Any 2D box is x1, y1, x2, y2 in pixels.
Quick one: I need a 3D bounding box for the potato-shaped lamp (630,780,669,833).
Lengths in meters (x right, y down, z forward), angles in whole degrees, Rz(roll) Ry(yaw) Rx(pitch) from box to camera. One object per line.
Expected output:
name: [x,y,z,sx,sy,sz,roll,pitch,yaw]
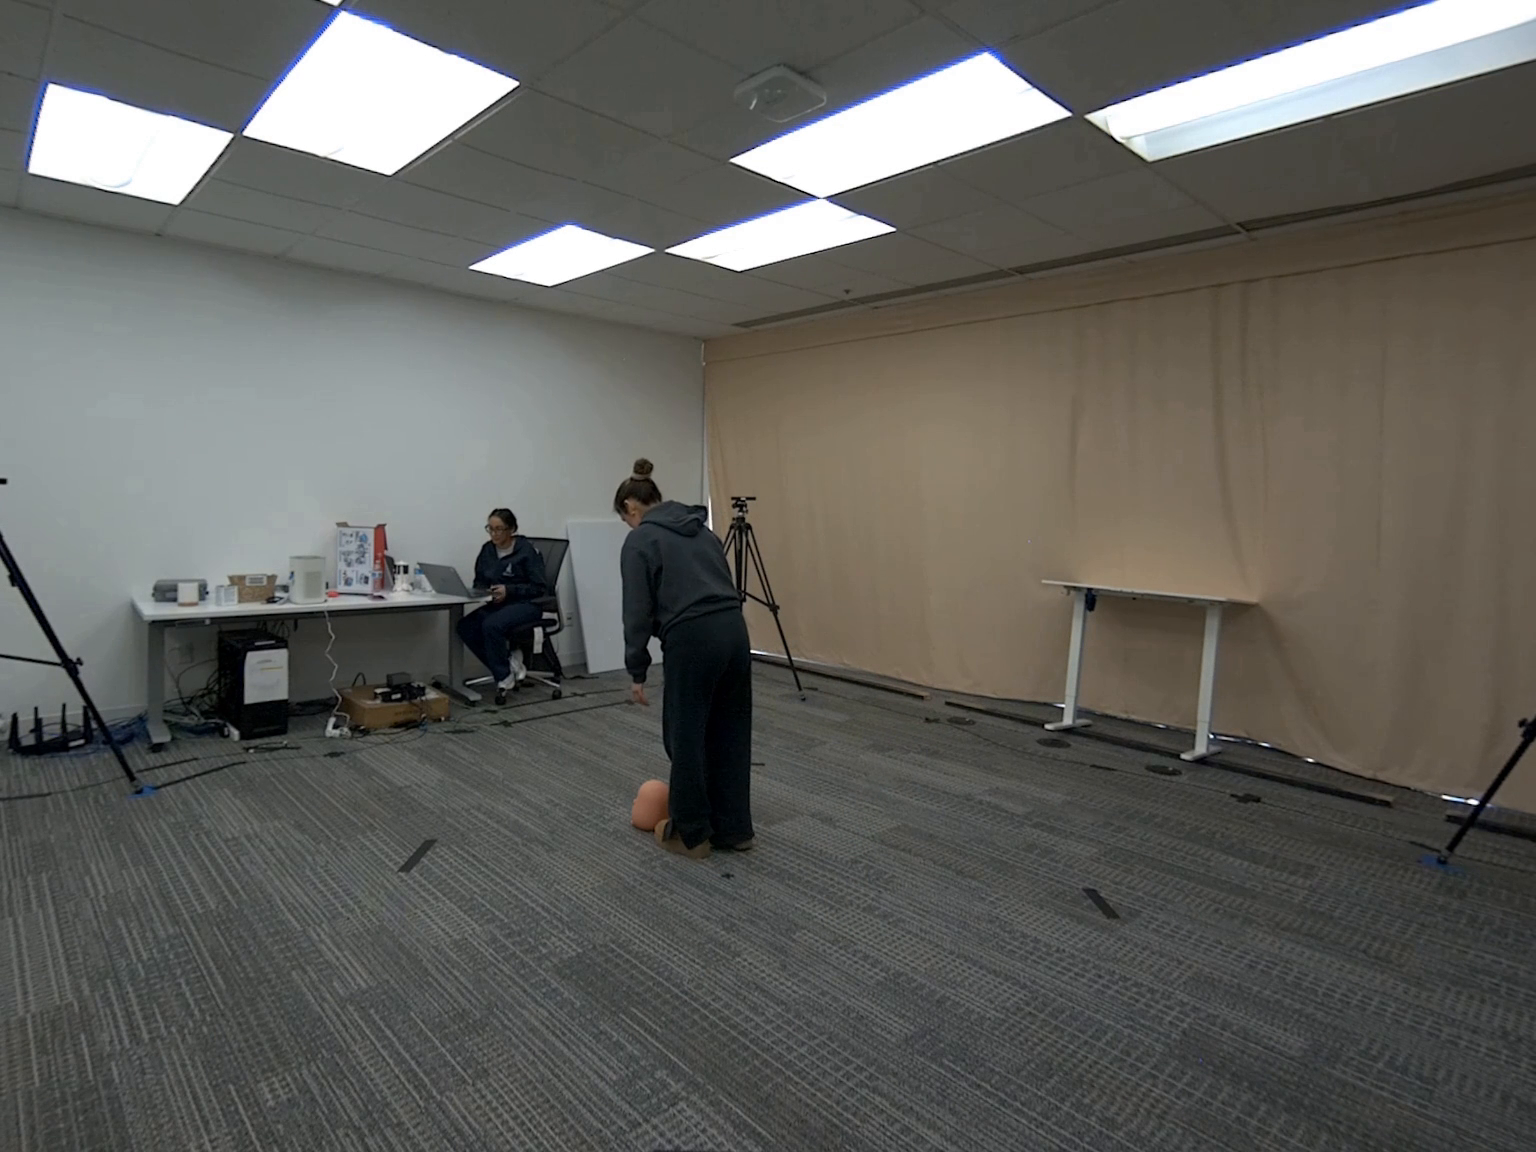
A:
potato-shaped lamp: [-0.499,0.956,3.558,0.176,0.197,0.161,7,8,35]
